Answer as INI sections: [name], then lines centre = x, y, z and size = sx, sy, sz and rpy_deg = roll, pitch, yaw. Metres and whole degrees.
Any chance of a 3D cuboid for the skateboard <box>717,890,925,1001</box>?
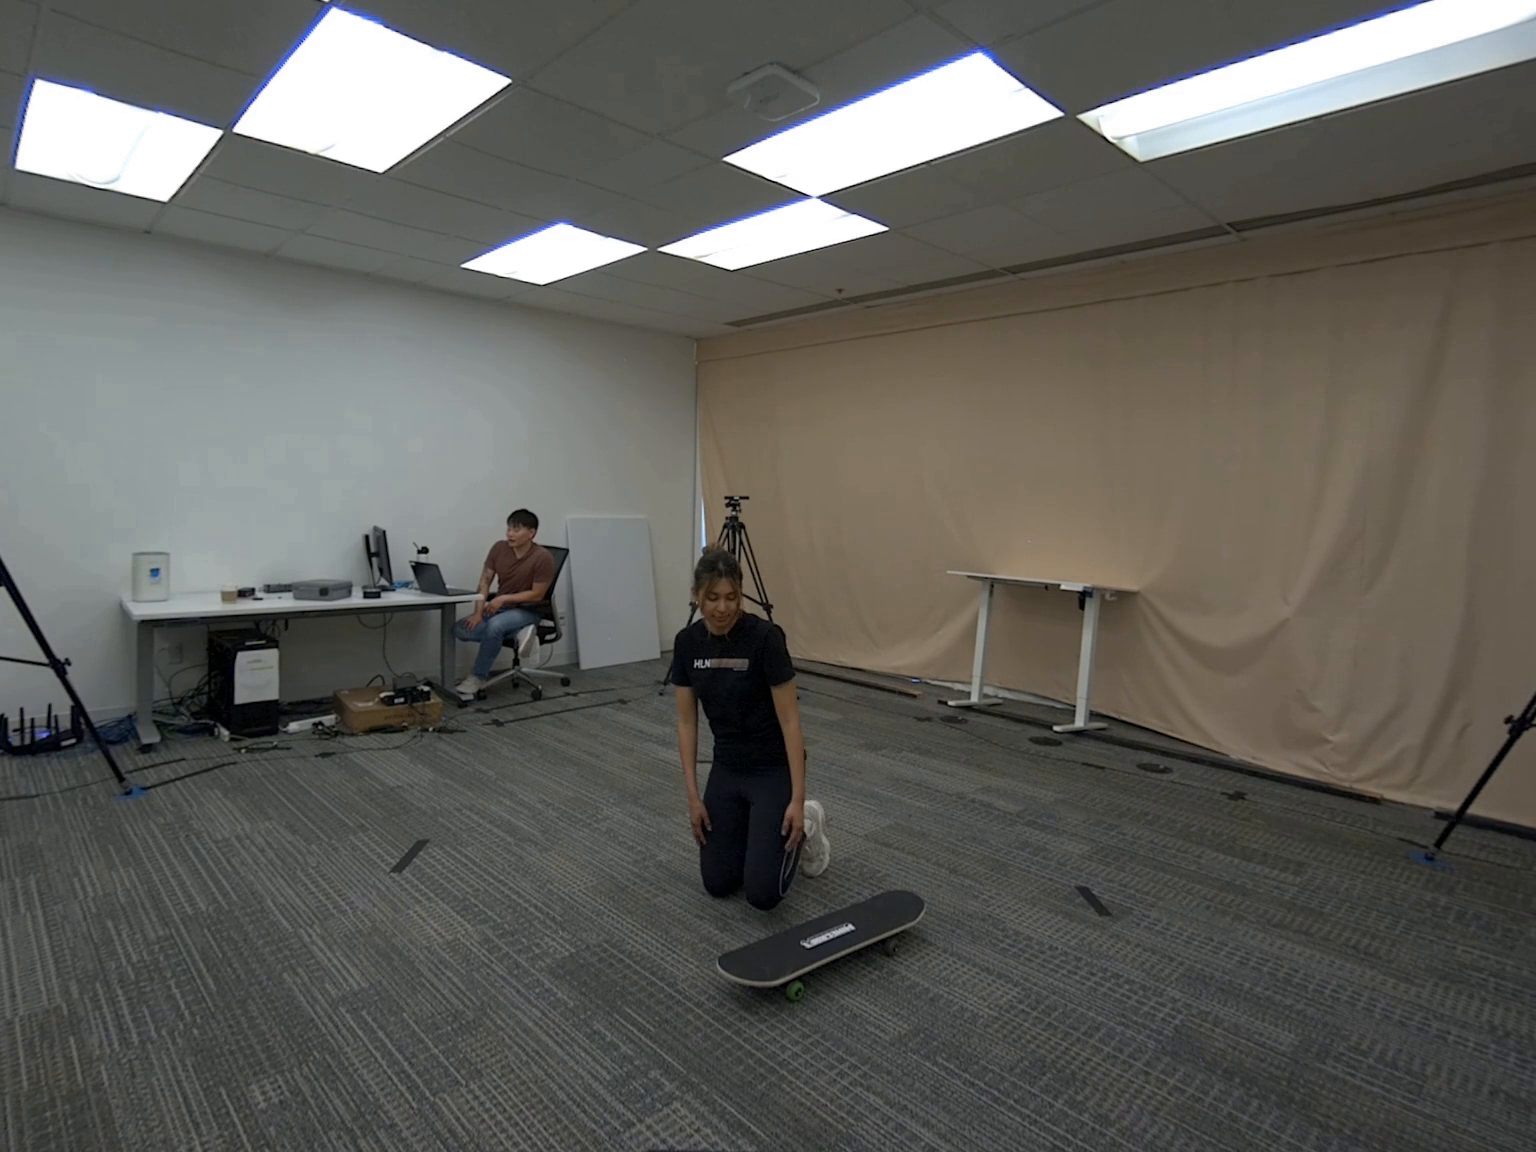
[skateboard]
centre = 0.174, 1.111, 2.520
size = 0.768, 0.110, 0.198
rpy_deg = -3, 7, -39
